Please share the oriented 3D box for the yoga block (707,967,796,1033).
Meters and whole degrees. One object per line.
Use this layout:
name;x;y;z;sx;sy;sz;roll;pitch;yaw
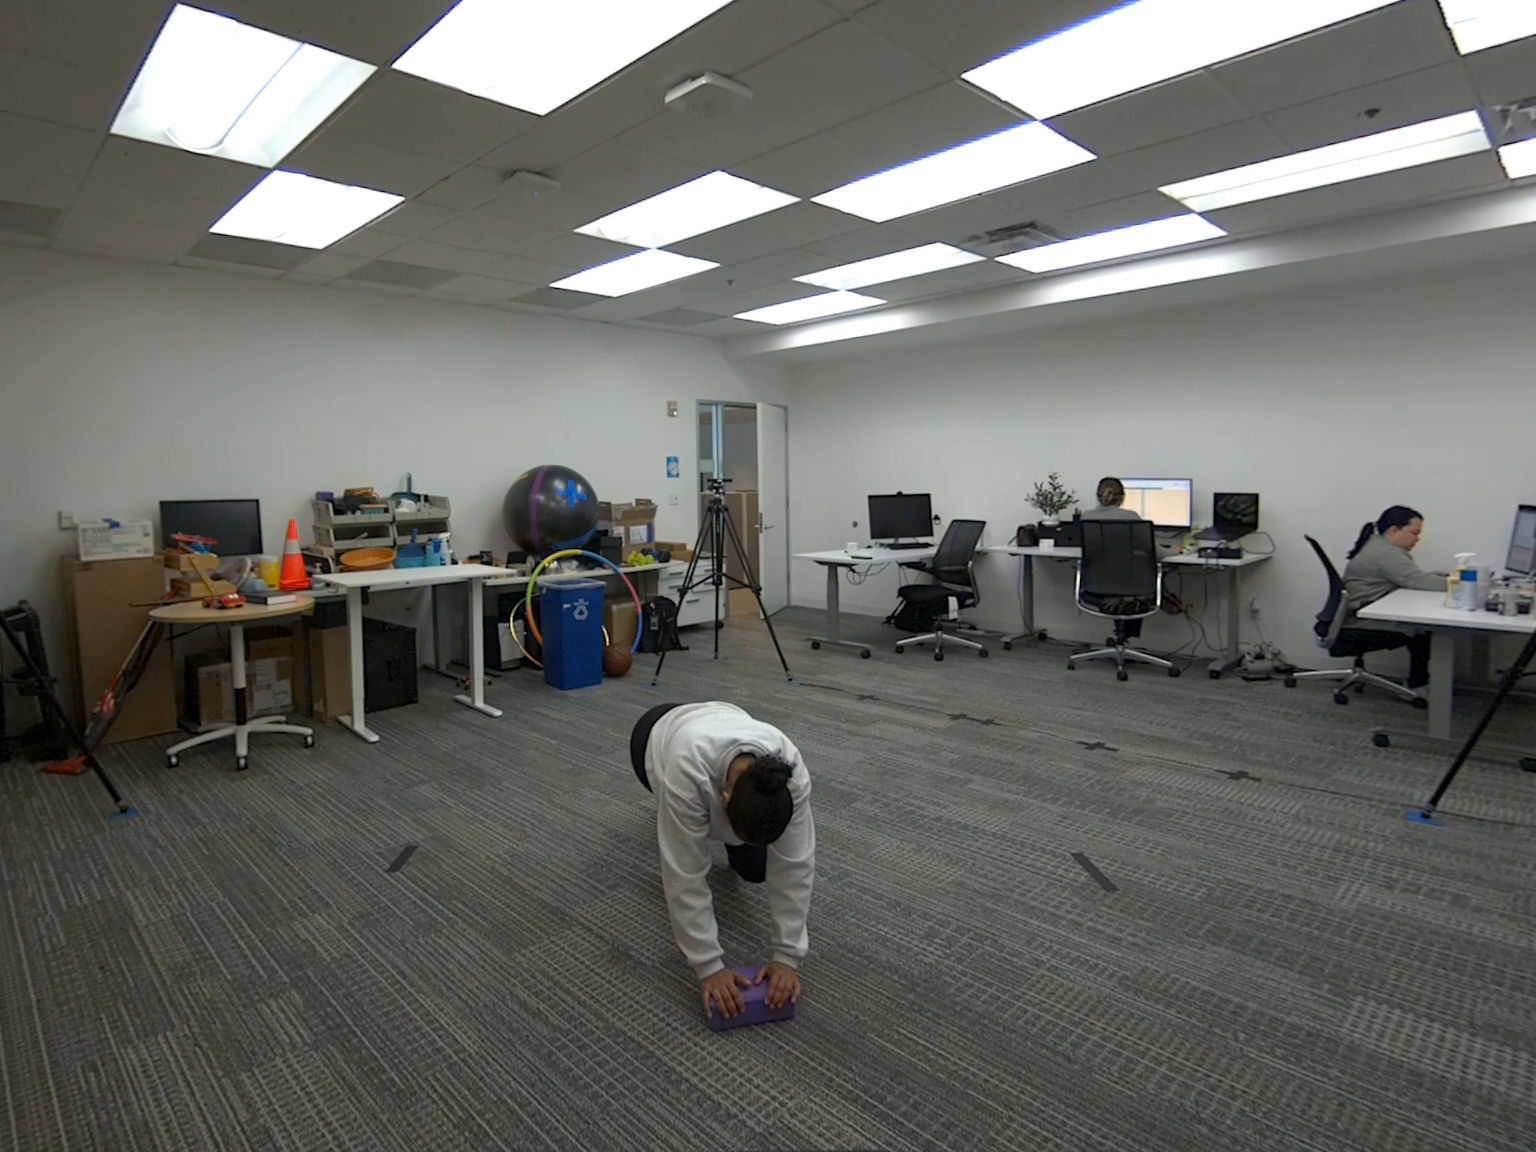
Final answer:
yoga block;-0.049;1.120;2.252;0.227;0.076;0.151;-2;6;-13
